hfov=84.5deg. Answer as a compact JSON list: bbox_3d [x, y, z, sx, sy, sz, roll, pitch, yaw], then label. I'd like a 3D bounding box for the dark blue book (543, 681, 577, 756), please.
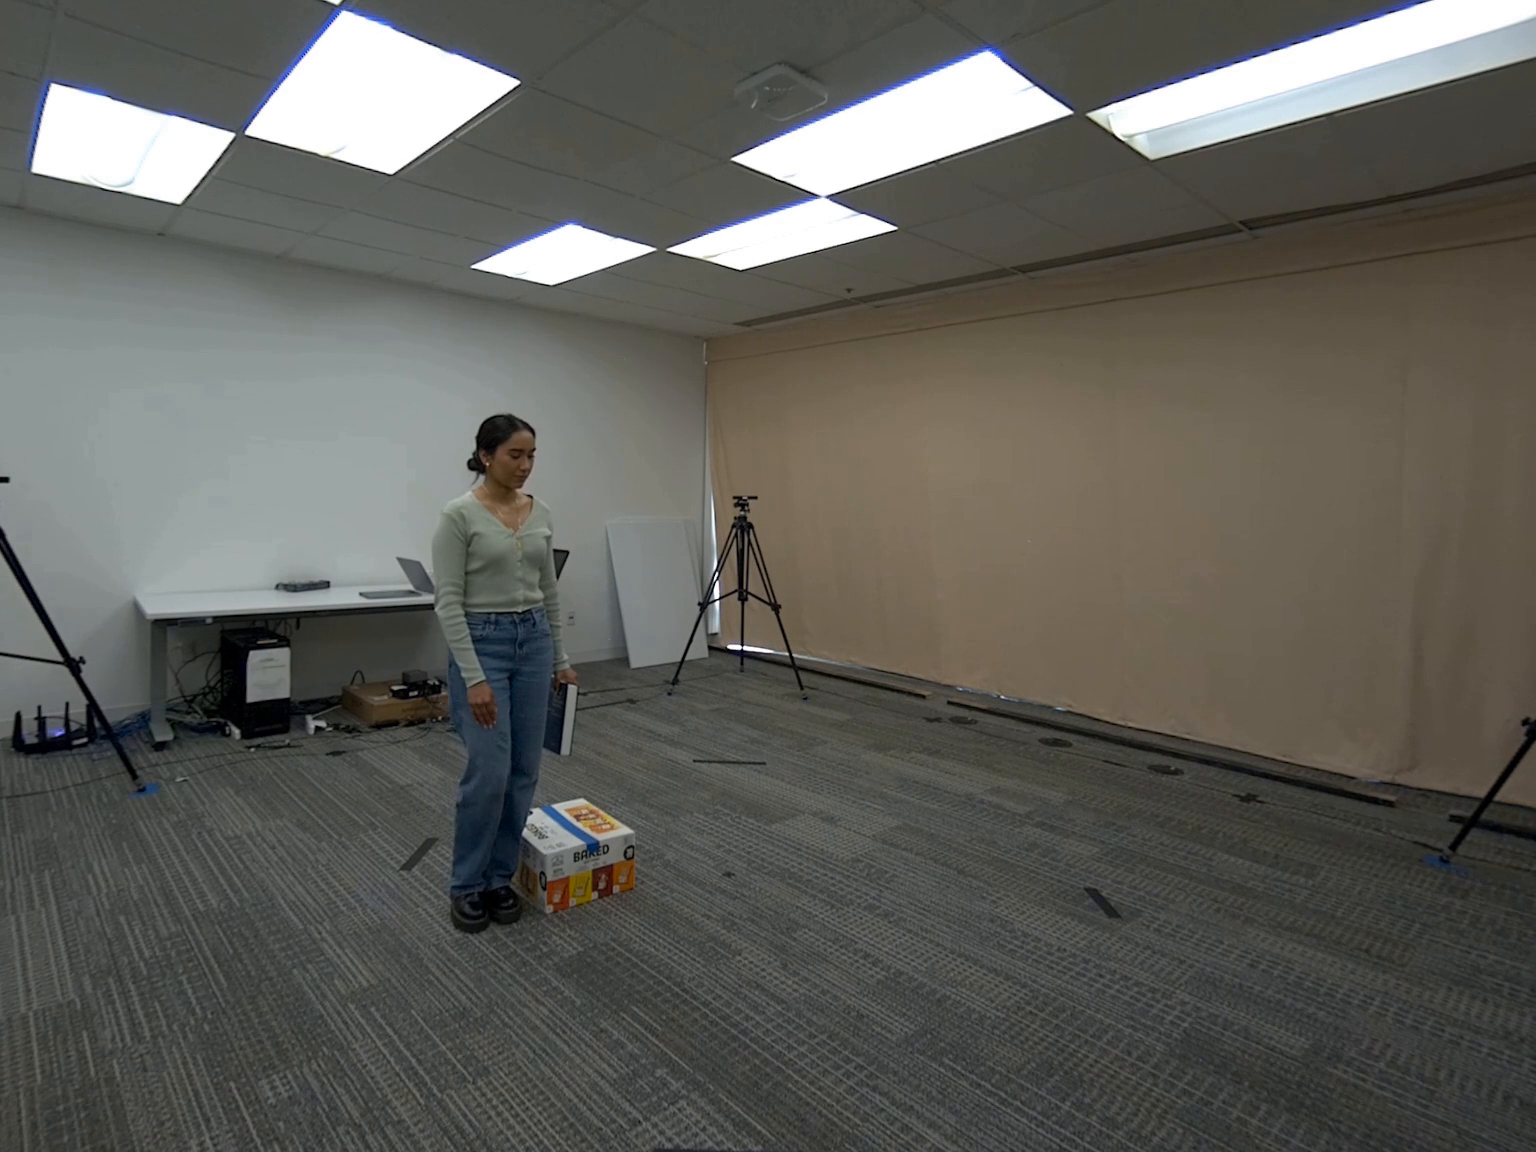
[{"bbox_3d":[-0.744,0.495,2.947,0.044,0.246,0.167,8,-4,-39],"label":"dark blue book"}]
